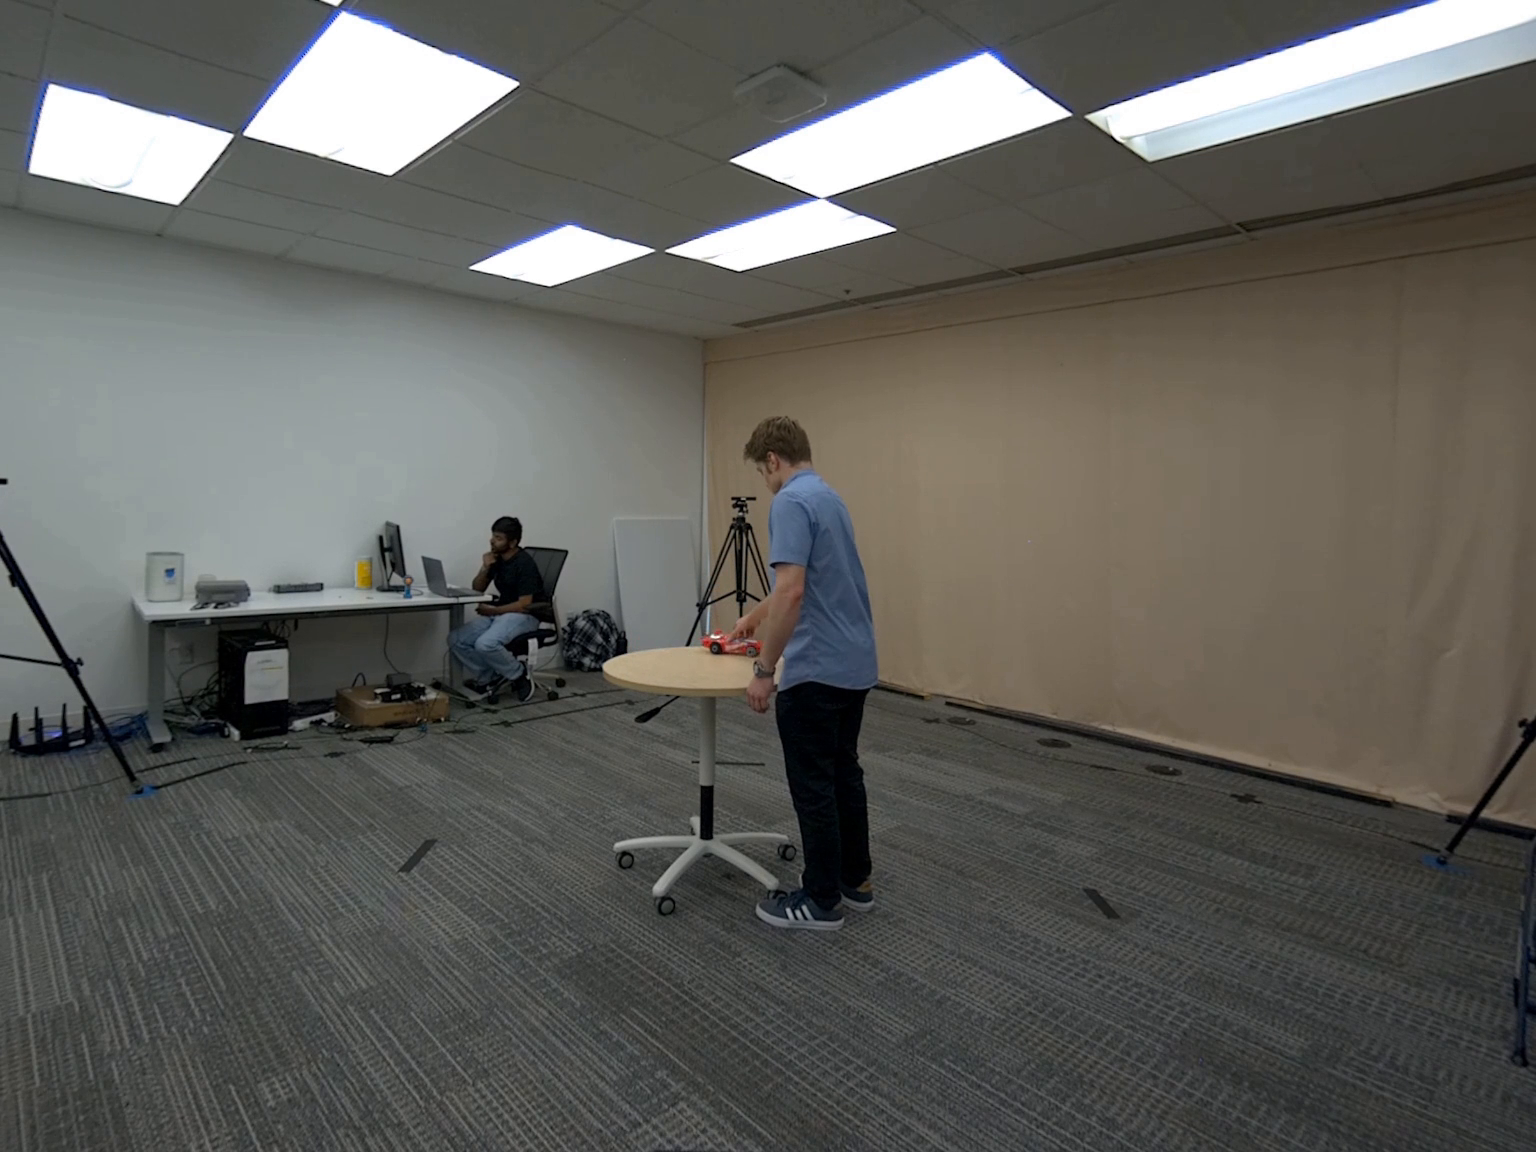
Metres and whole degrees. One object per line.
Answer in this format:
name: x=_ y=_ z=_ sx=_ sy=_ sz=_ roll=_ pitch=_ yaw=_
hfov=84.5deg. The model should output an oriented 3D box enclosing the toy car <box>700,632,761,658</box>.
toy car: x=-0.153 y=0.272 z=3.297 sx=0.259 sy=0.083 sz=0.129 roll=15 pitch=9 yaw=17
